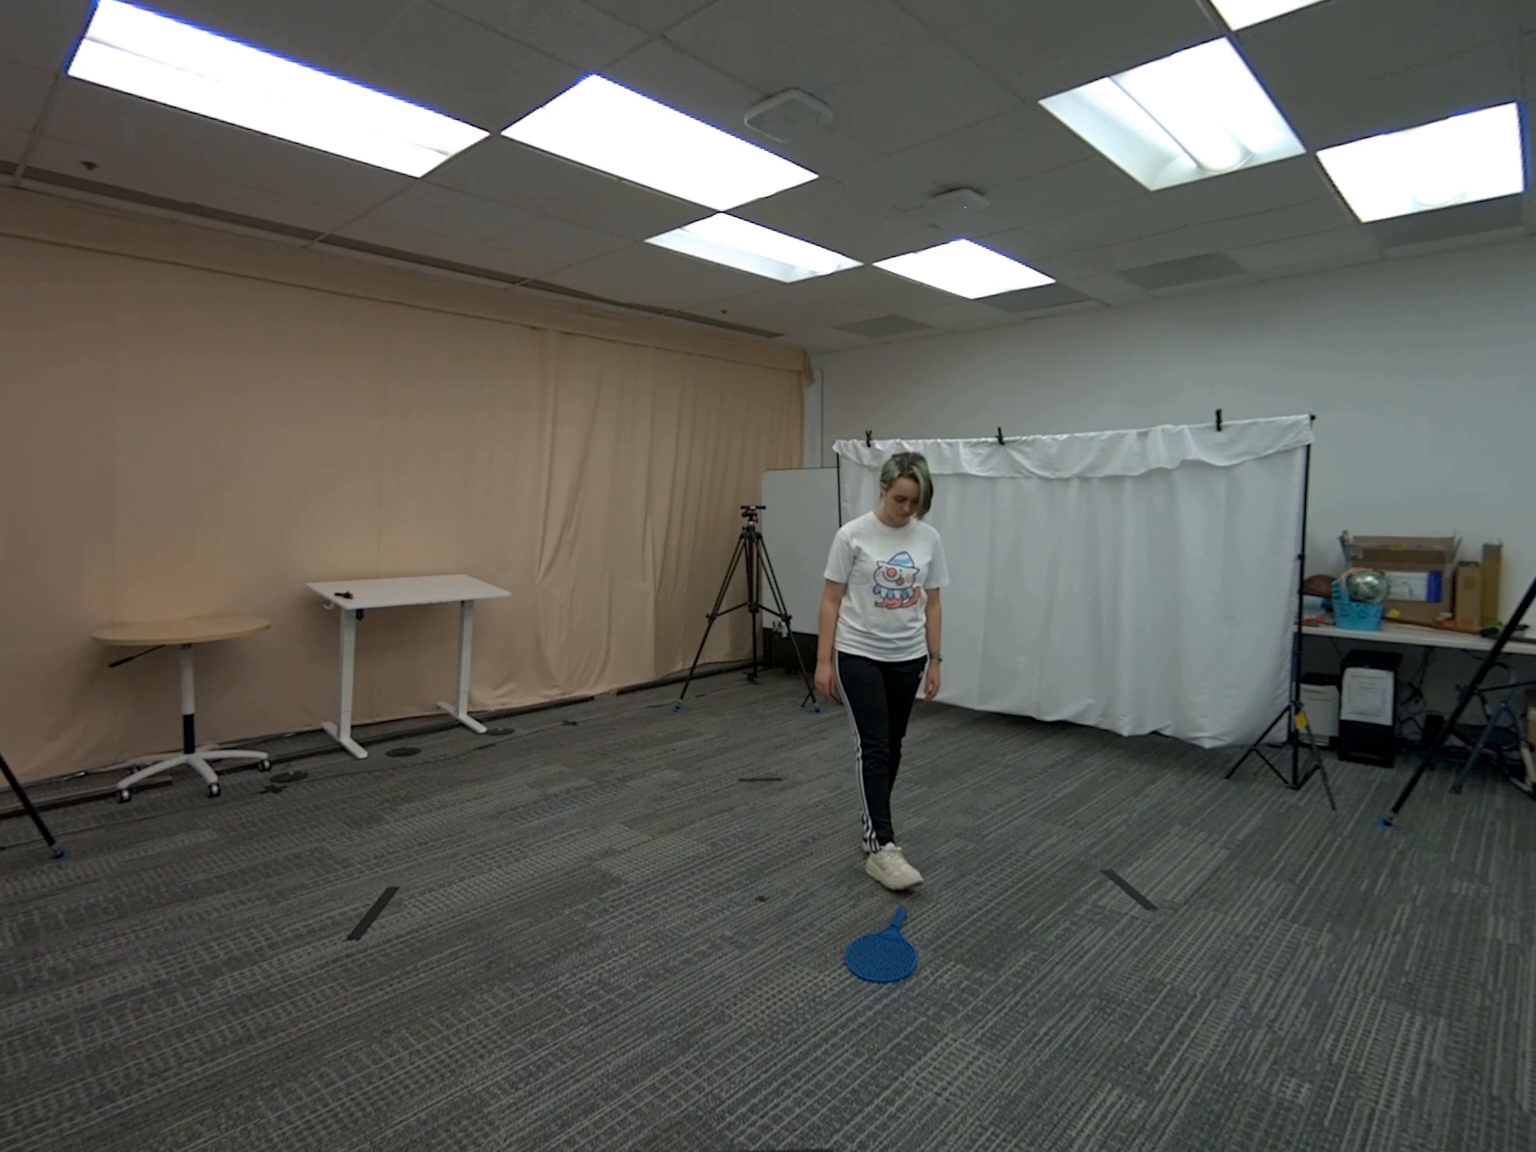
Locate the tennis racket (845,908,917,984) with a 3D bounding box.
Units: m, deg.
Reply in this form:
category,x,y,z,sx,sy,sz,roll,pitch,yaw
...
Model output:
category,x,y,z,sx,sy,sz,roll,pitch,yaw
tennis racket,0.381,1.161,2.651,0.219,0.031,0.423,3,7,25
